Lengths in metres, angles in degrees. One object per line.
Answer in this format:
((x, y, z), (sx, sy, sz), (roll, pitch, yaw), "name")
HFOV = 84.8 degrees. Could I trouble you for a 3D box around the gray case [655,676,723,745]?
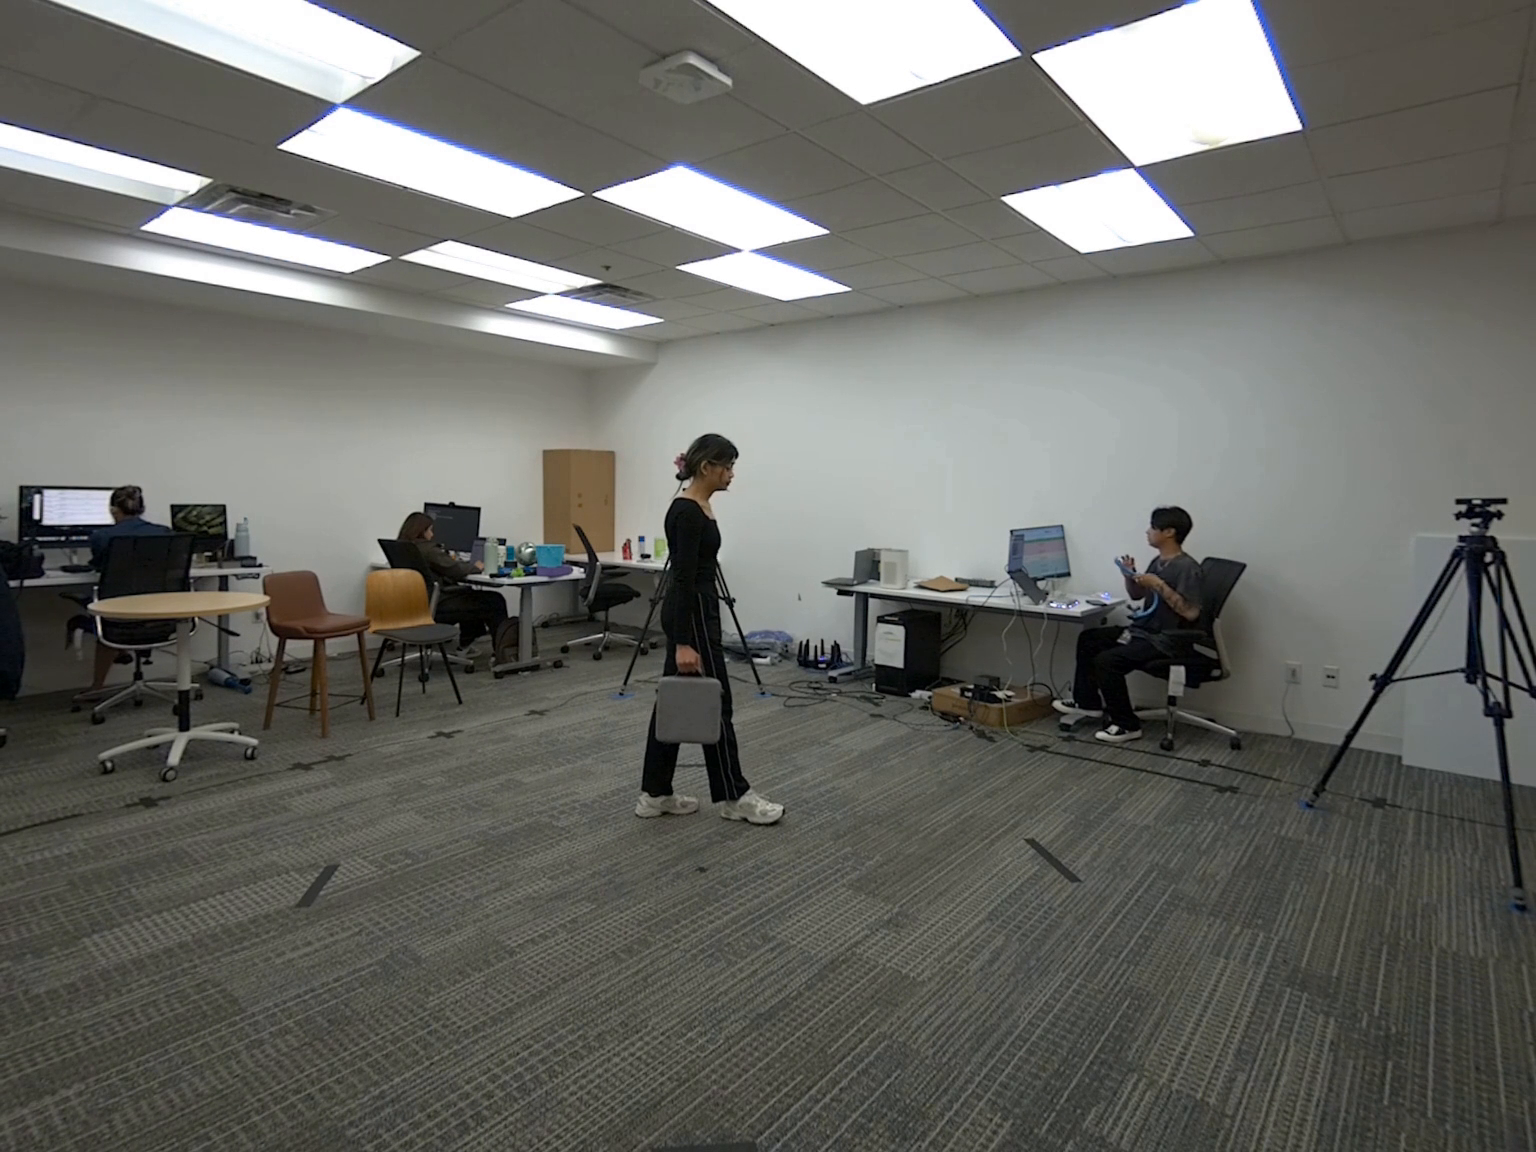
((-0.324, 0.521, 3.371), (0.257, 0.262, 0.104), (1, -4, 0), "gray case")
